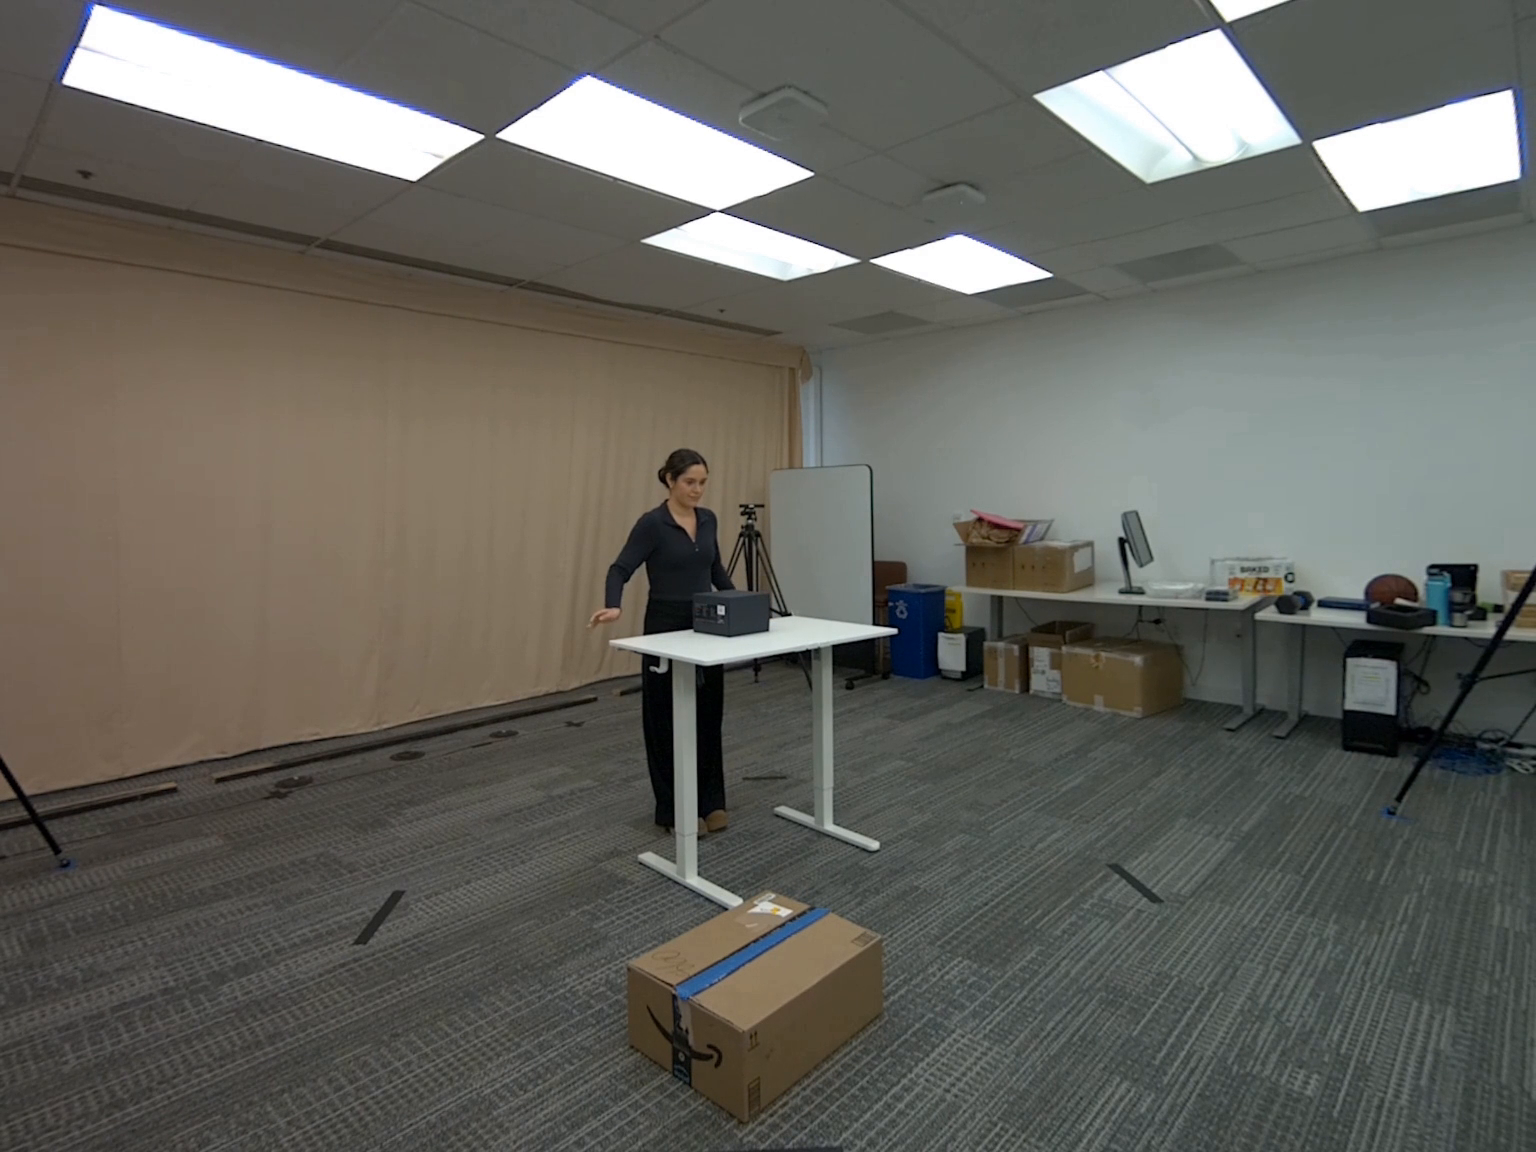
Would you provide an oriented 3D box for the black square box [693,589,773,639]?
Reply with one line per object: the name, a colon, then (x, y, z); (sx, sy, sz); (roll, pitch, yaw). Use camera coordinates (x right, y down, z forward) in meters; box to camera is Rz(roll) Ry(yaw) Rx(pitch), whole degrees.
black square box: (-0.142, 0.147, 3.401); (0.224, 0.155, 0.221); (3, 6, 44)
